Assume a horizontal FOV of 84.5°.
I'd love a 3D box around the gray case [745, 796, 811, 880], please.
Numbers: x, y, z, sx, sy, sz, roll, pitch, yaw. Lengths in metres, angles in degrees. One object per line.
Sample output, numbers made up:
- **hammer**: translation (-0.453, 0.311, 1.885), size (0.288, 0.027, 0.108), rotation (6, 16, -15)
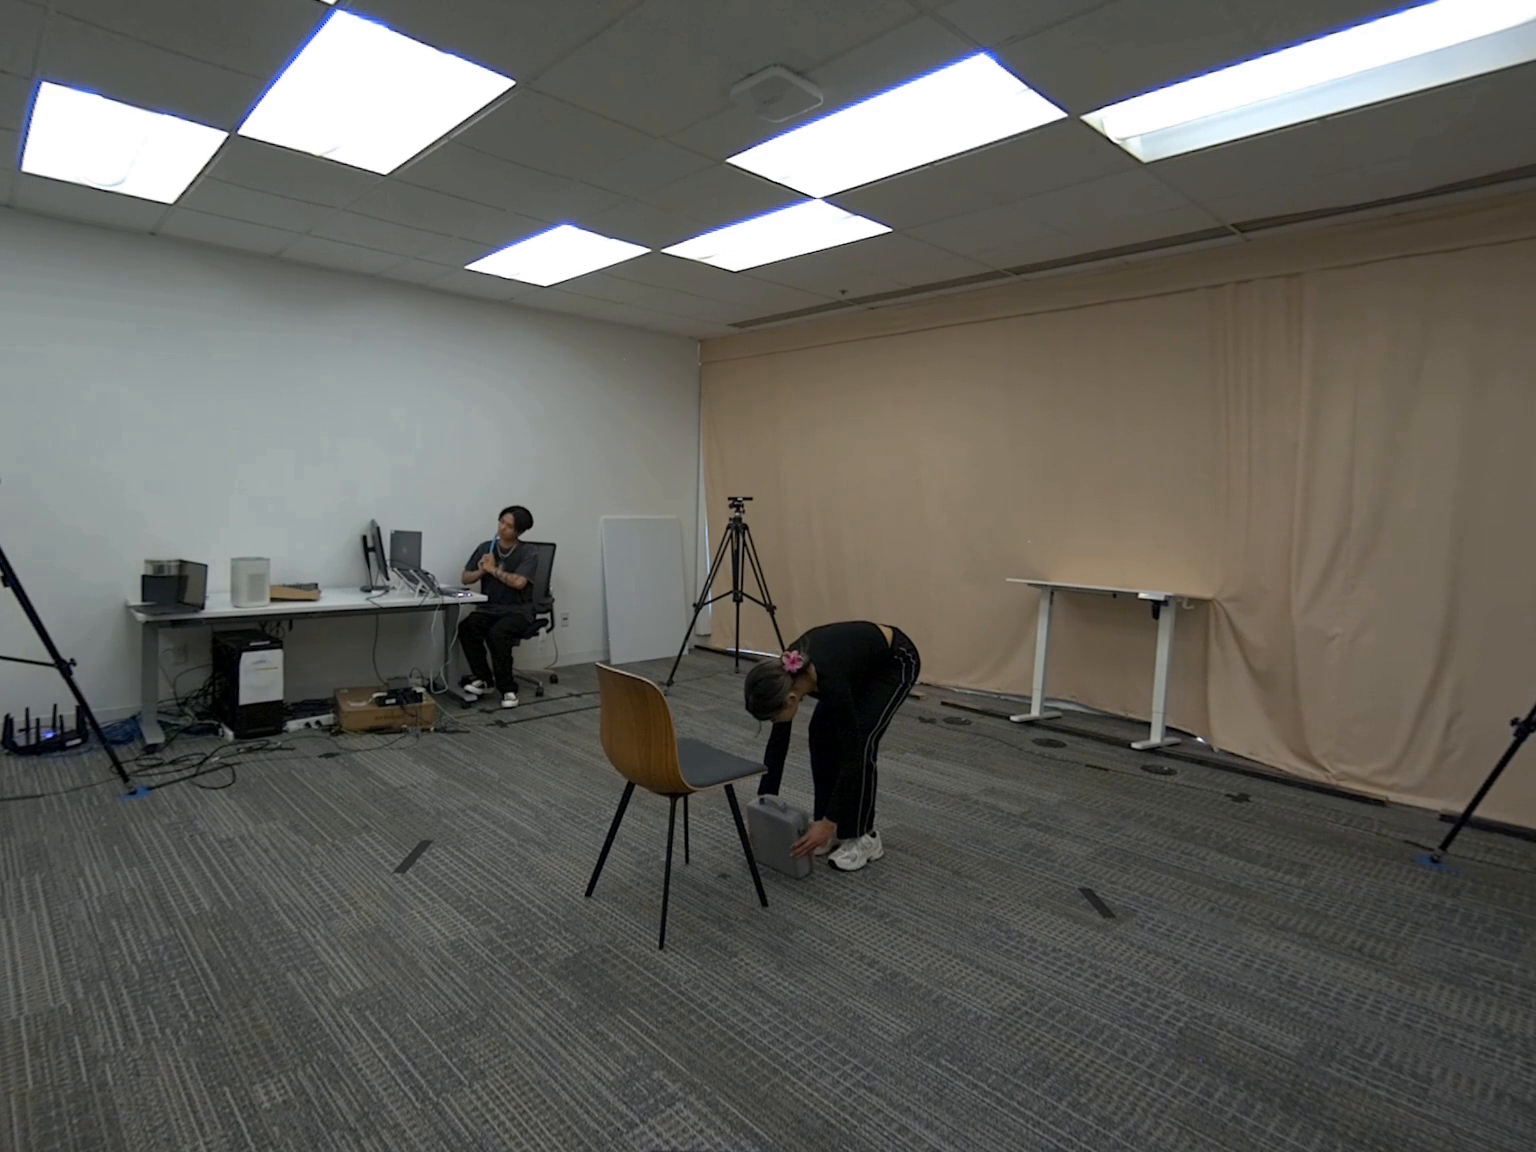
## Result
- **gray case**: translation (0.038, 0.976, 3.169), size (0.263, 0.258, 0.103), rotation (4, 16, 45)
